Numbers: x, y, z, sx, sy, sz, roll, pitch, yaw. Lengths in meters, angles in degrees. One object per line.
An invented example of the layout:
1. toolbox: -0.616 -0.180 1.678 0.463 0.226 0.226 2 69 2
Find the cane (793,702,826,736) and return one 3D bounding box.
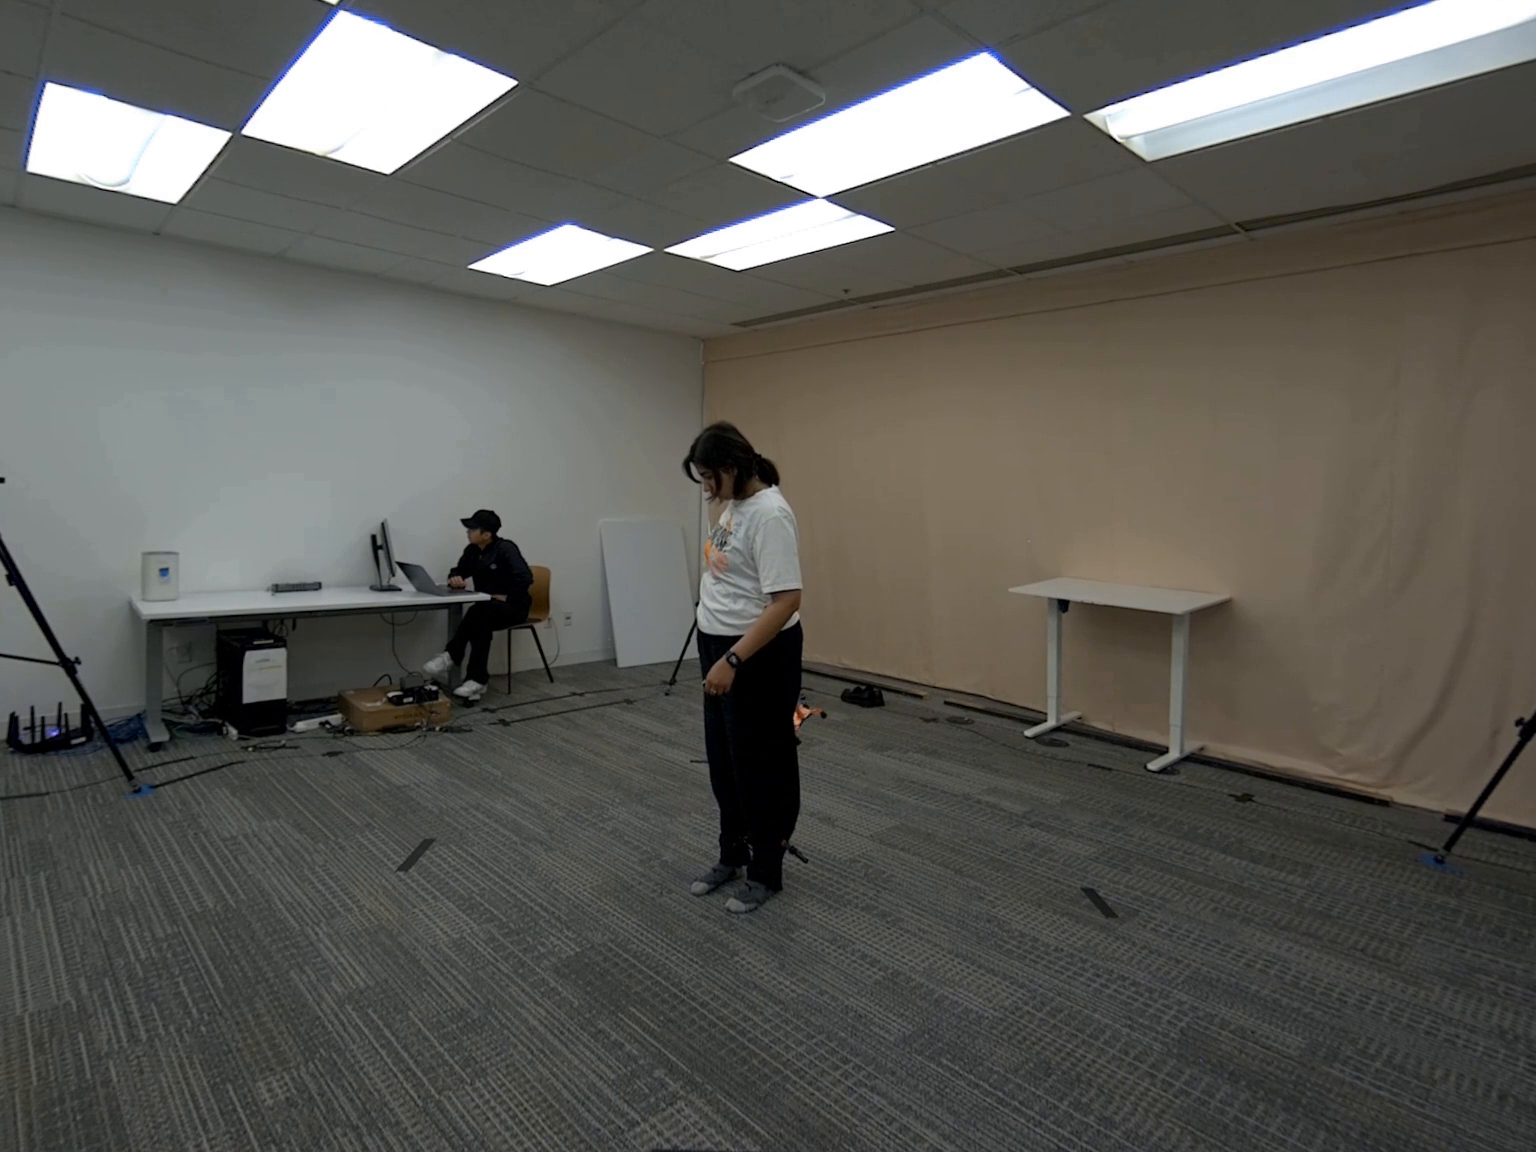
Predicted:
1. cane: -0.029 0.345 3.638 0.205 0.888 0.156 -38 29 -29
